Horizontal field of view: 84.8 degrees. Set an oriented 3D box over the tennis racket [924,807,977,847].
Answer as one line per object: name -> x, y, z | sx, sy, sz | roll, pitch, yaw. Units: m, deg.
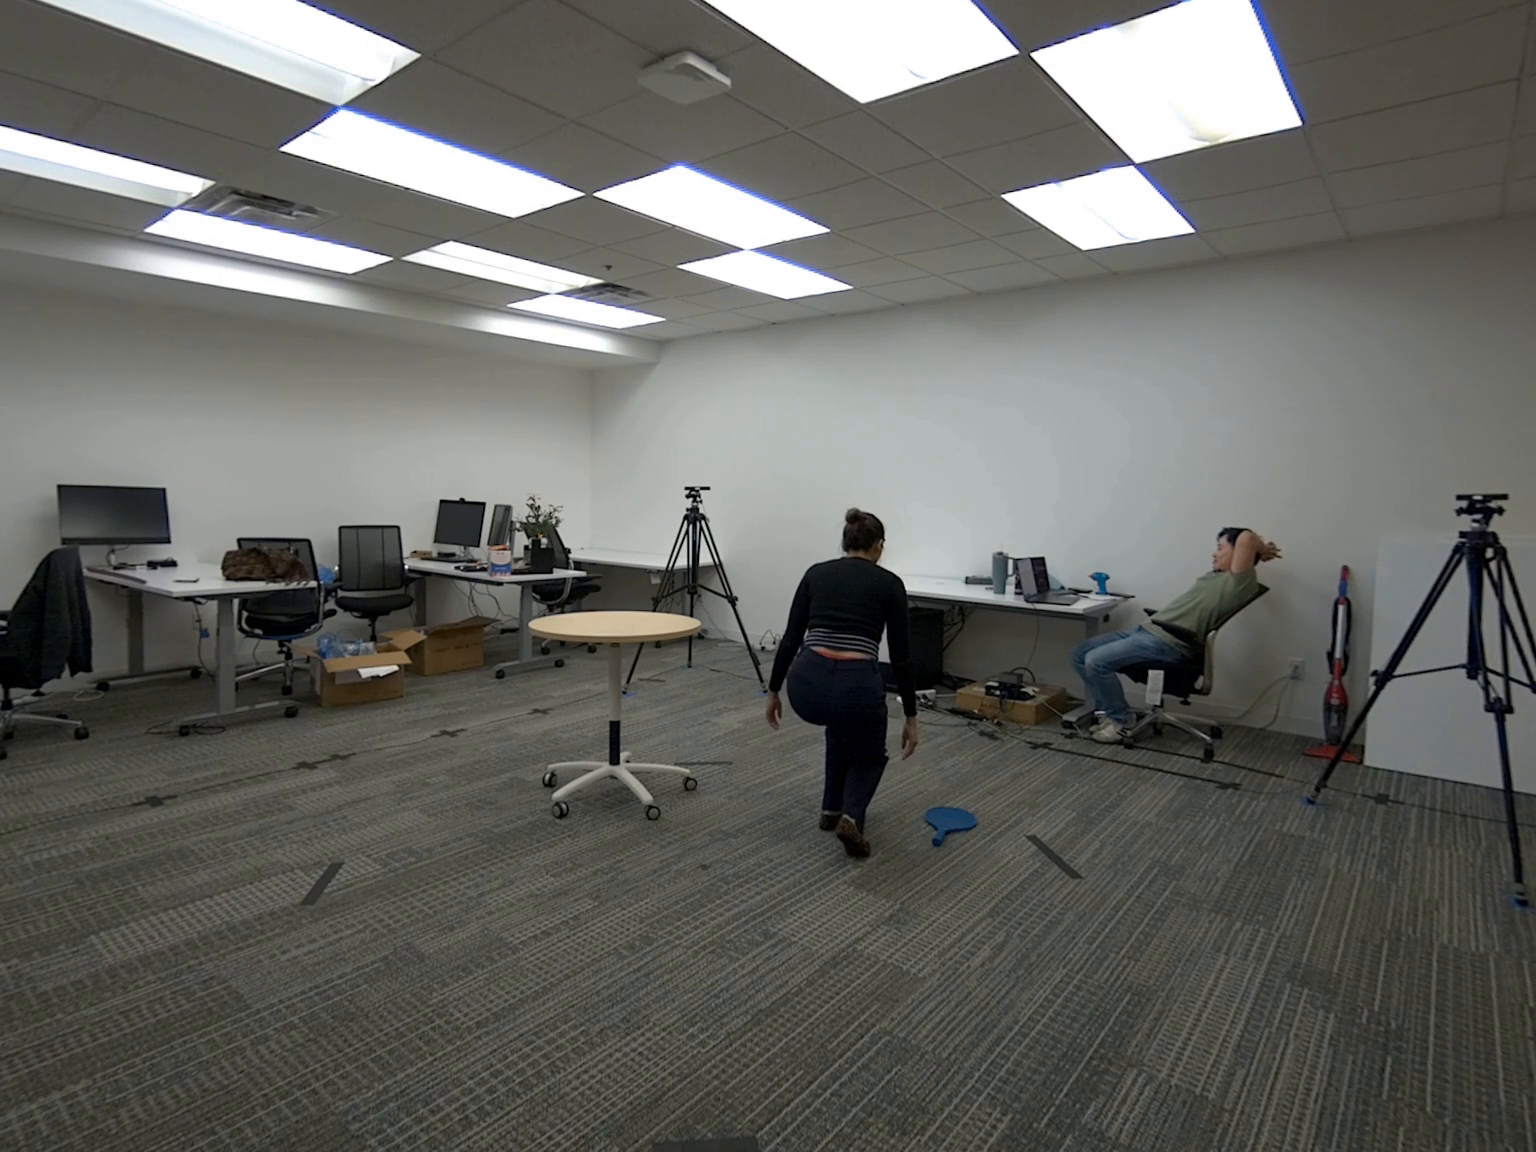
tennis racket -> 0.736, 1.029, 3.531 | 0.219, 0.031, 0.424 | 5, 6, 22
